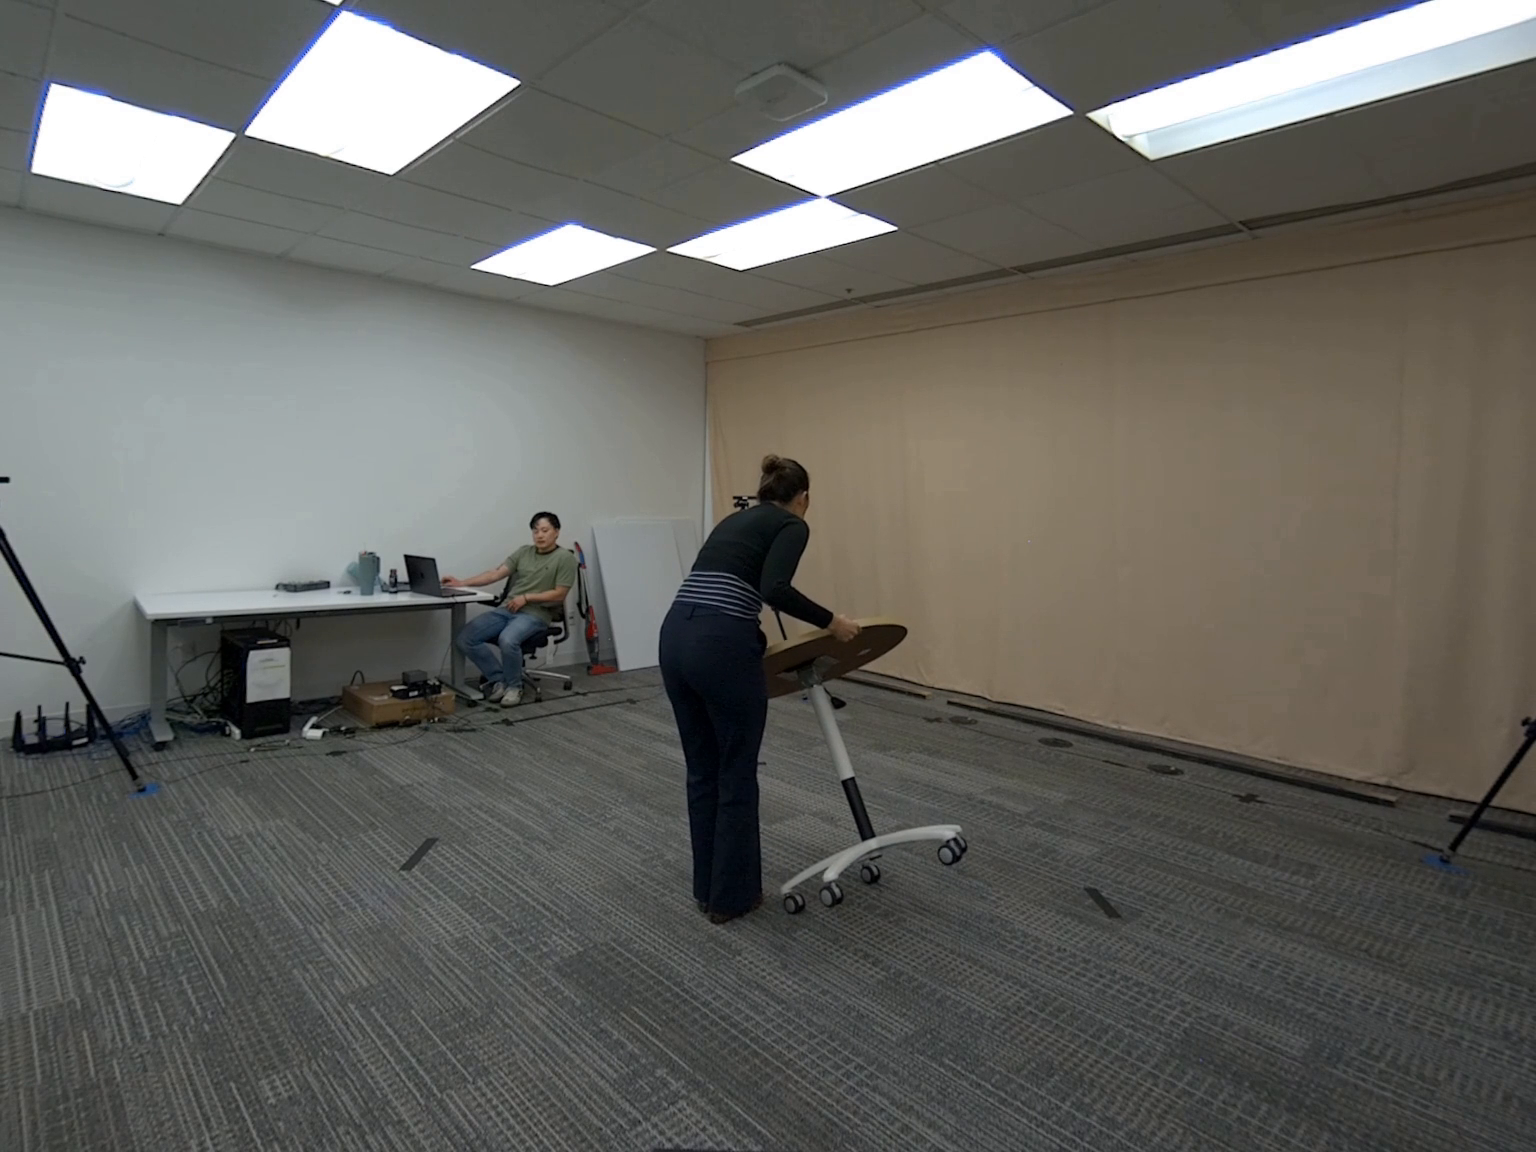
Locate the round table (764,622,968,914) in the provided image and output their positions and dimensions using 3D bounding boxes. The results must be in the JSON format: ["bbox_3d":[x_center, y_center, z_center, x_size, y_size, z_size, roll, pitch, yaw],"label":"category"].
[{"bbox_3d":[0.259,0.663,2.906,0.761,0.809,0.753,-16,-20,-7],"label":"round table"}]
